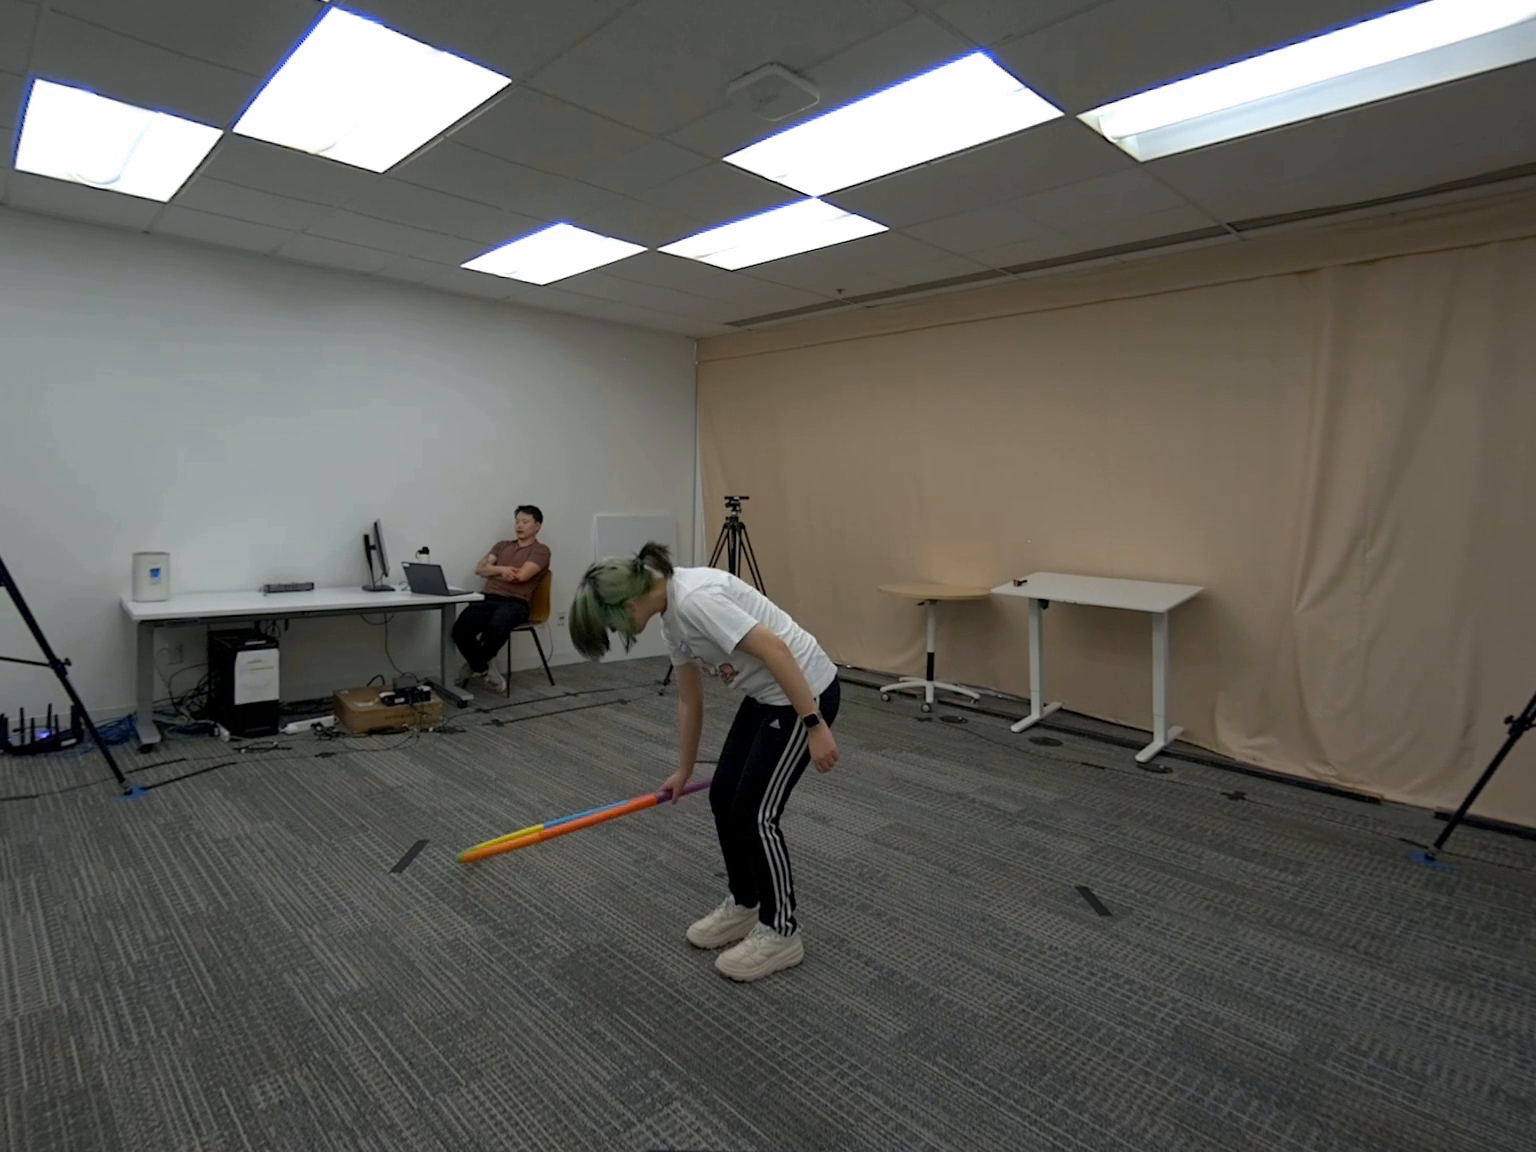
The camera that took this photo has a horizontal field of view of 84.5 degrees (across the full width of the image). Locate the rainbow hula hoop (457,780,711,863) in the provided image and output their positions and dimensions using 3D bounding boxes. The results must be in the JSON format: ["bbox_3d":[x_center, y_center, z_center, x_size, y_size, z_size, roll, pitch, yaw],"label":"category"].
[{"bbox_3d":[-0.648,0.882,3.085,0.976,0.036,0.970,-15,-11,-5],"label":"rainbow hula hoop"}]
